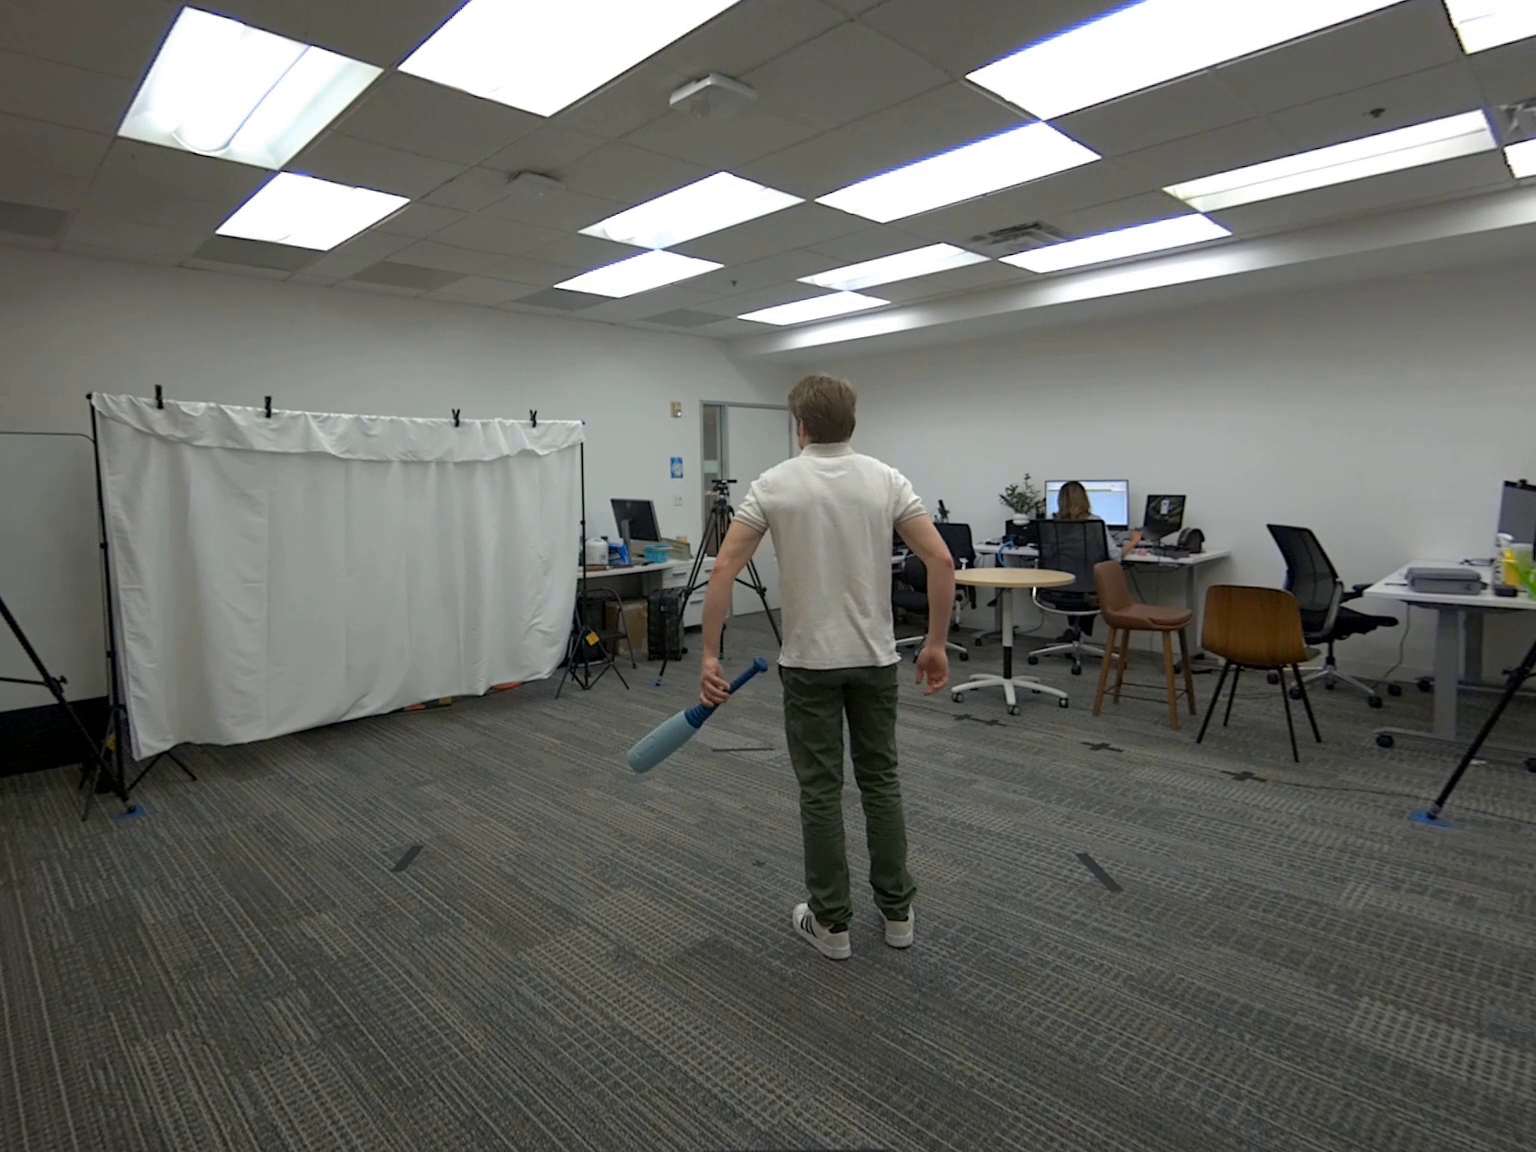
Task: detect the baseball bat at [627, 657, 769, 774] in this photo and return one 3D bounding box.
[{"bbox_3d":[-0.182,0.409,2.504,0.545,0.090,0.087,-39,-10,20],"label":"baseball bat"}]
